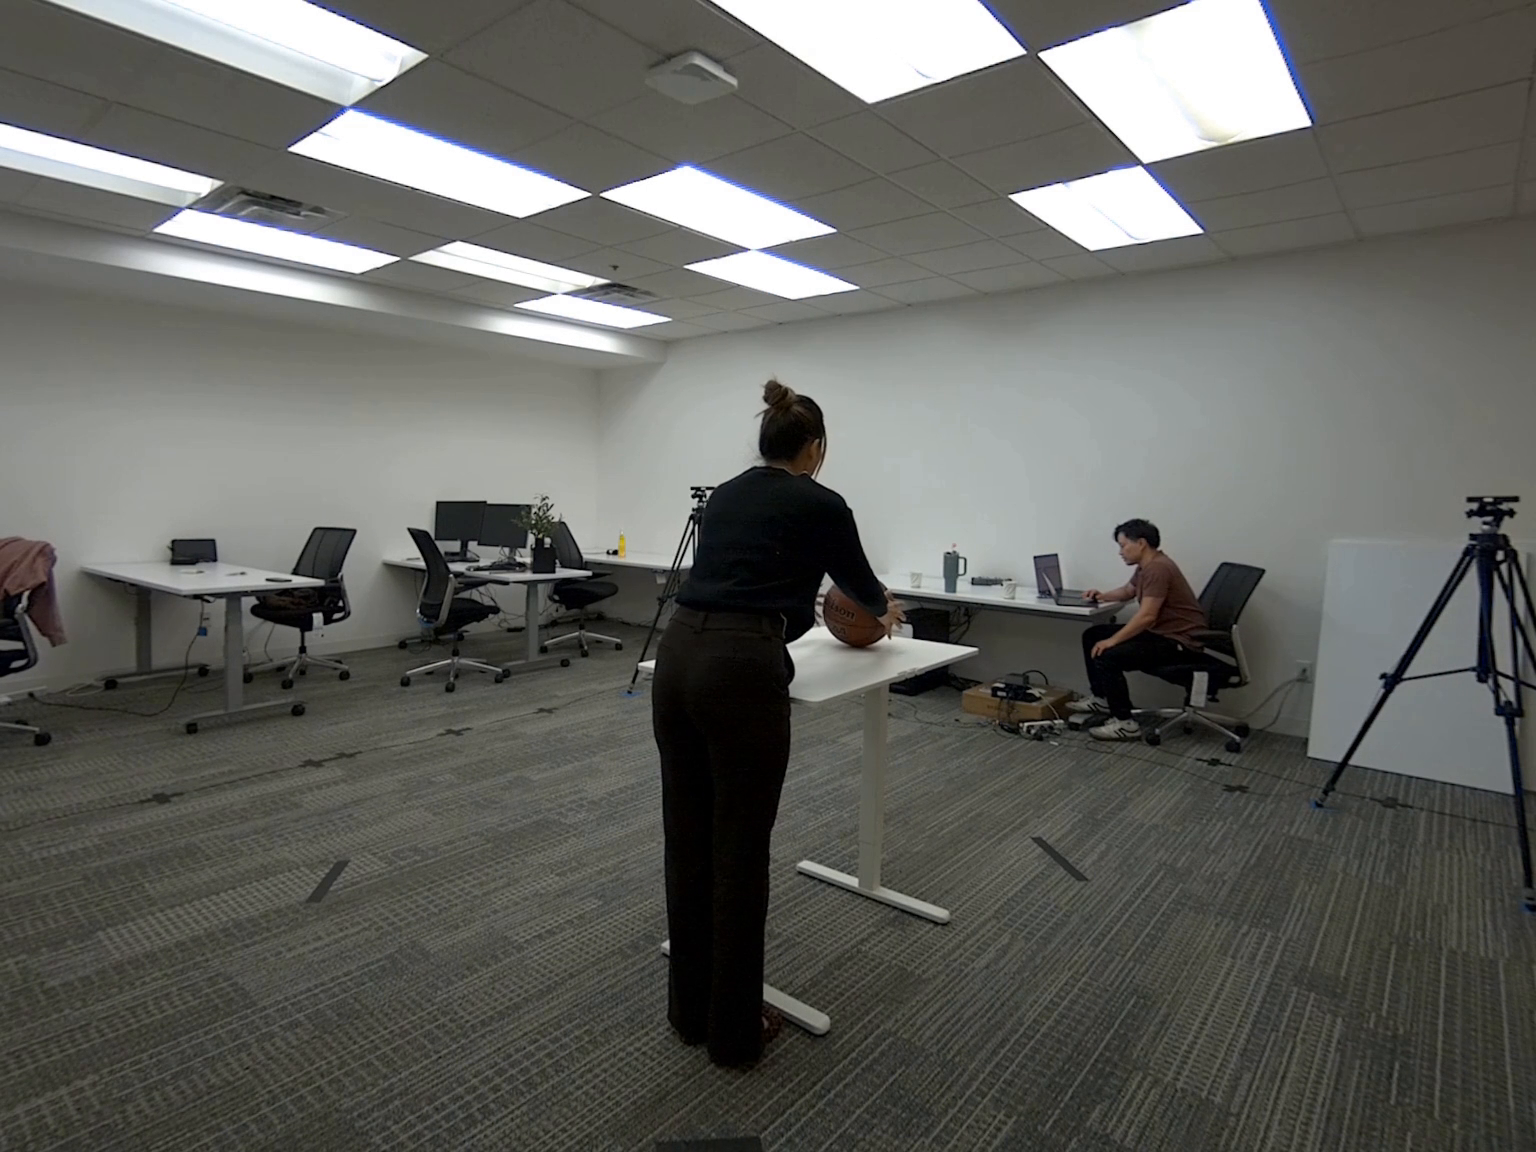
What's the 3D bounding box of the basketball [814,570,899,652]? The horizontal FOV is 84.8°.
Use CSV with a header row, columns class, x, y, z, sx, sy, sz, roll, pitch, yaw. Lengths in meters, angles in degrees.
class,x,y,z,sx,sy,sz,roll,pitch,yaw
basketball,0.286,0.107,2.784,0.235,0.235,0.237,1,4,-2
